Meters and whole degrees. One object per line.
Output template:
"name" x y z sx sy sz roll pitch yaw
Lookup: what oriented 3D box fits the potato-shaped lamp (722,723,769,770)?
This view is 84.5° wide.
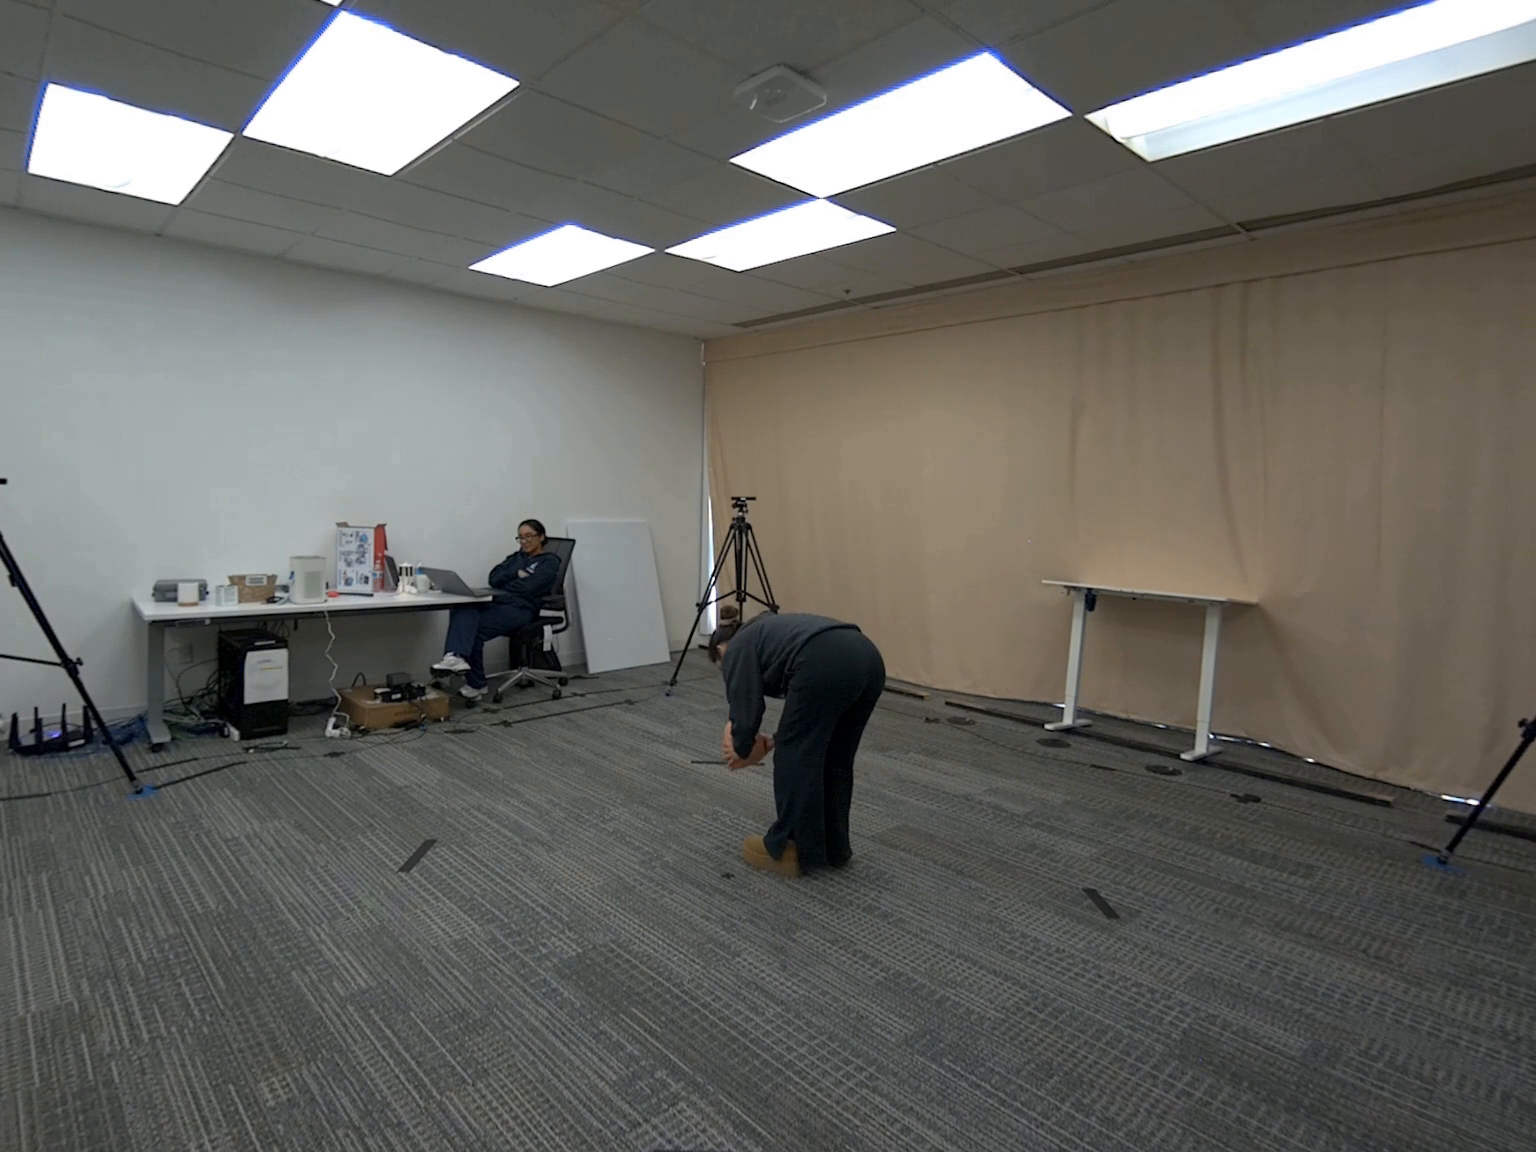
"potato-shaped lamp" -0.112 0.681 3.480 0.173 0.200 0.161 -26 -9 33
